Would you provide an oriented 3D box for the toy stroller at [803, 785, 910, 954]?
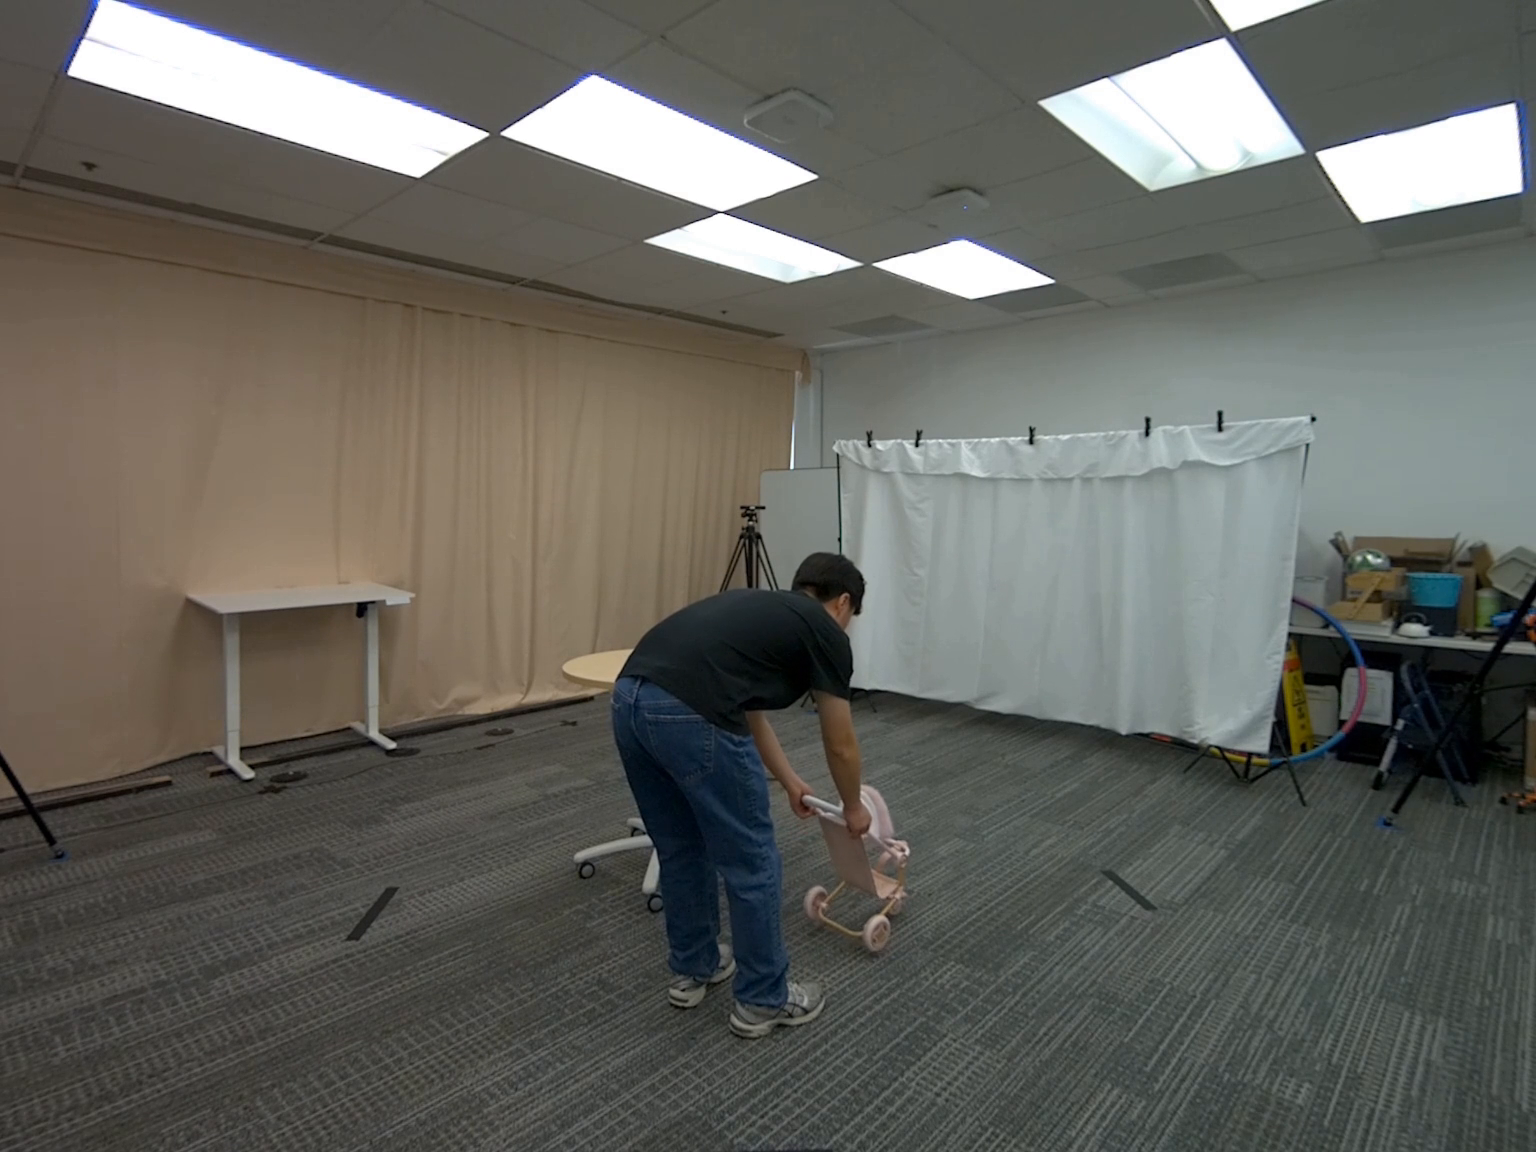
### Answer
[{"bbox_3d":[0.311,0.915,2.726,0.333,0.531,0.291,-15,13,-38],"label":"toy stroller"}]
